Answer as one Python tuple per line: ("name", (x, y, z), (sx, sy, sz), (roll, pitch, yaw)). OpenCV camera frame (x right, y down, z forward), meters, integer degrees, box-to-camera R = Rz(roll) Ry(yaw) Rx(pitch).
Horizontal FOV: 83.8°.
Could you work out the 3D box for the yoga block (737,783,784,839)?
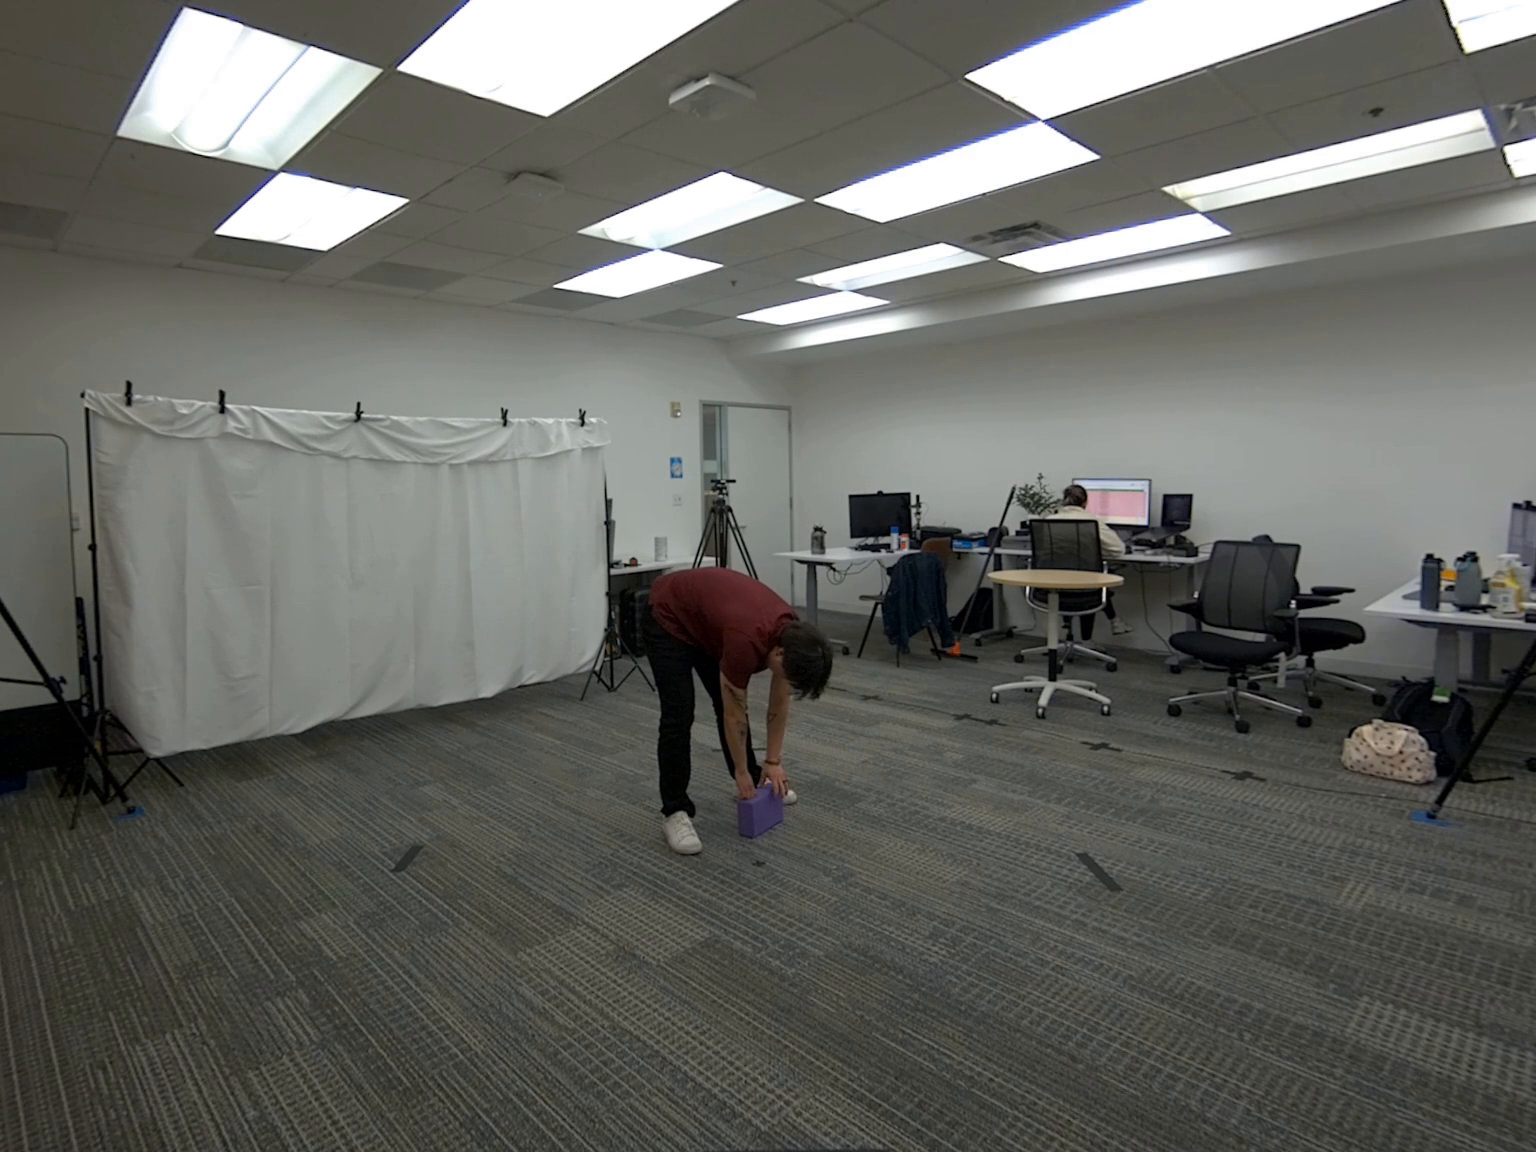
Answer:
("yoga block", (-0.034, 0.937, 3.431), (0.078, 0.148, 0.224), (0, 6, 36))
